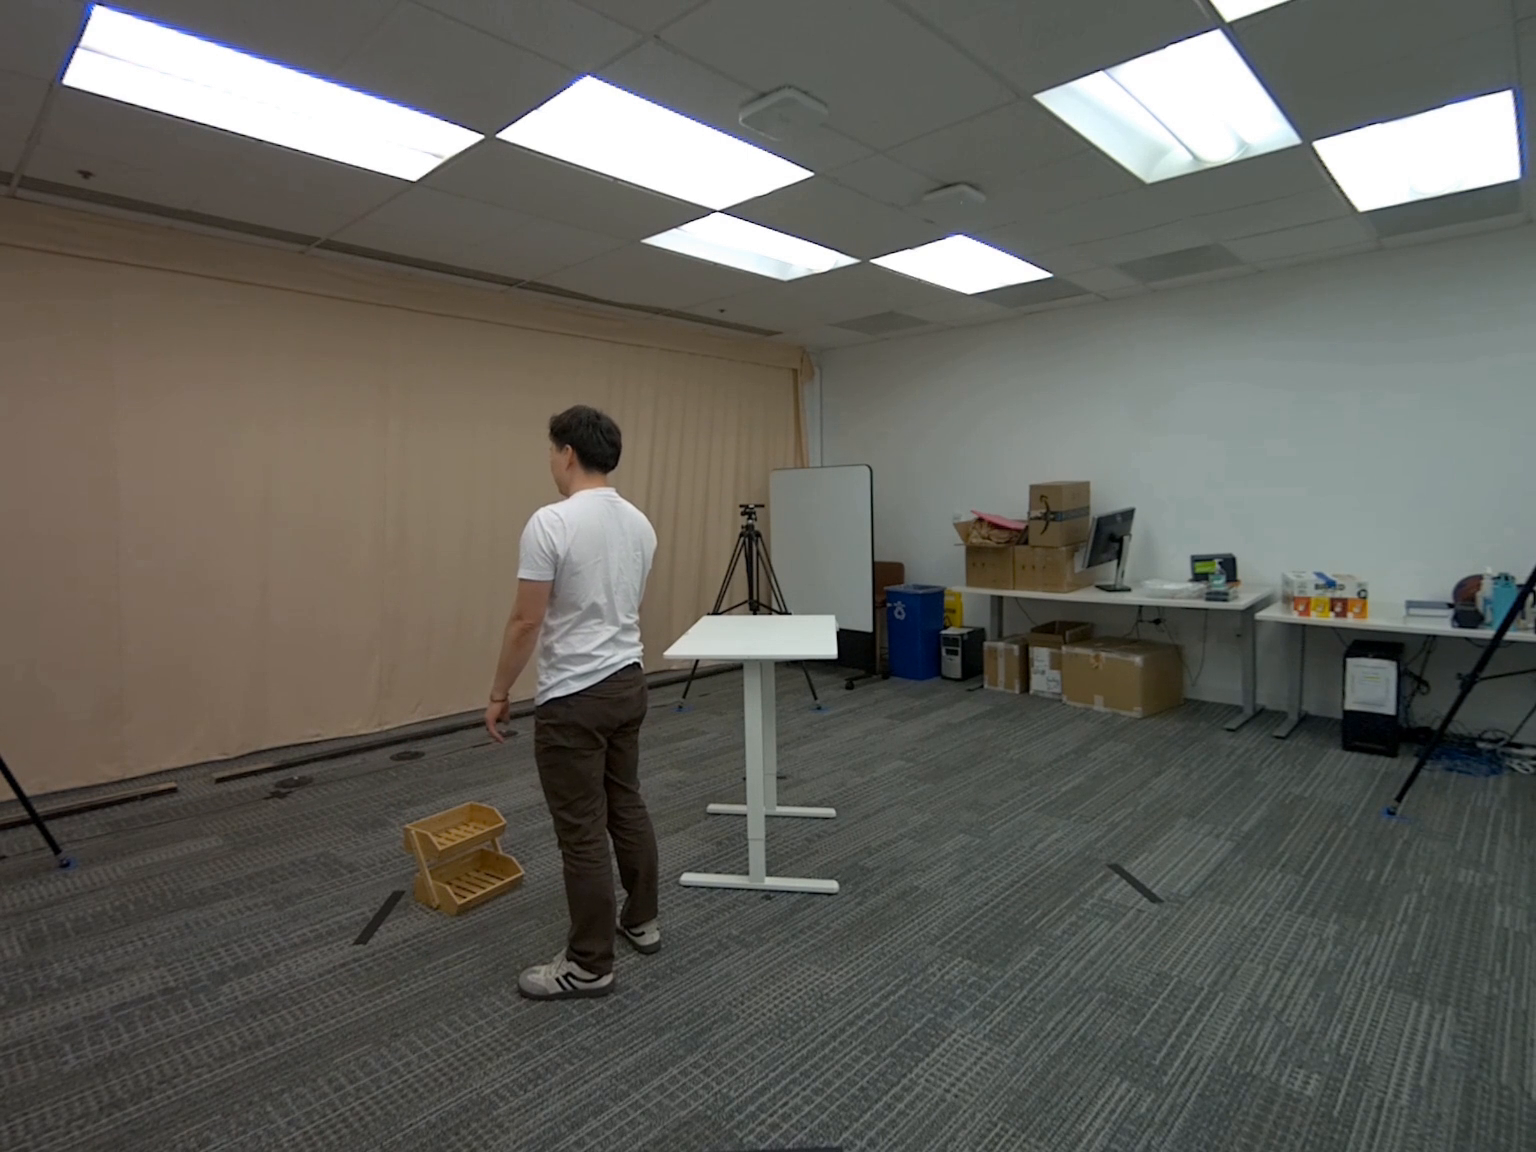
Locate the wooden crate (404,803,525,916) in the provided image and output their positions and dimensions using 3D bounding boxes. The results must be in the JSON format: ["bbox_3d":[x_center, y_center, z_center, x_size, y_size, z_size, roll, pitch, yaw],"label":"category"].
[{"bbox_3d":[-1.110,1.022,3.086,0.311,0.273,0.315,0,4,34],"label":"wooden crate"}]
